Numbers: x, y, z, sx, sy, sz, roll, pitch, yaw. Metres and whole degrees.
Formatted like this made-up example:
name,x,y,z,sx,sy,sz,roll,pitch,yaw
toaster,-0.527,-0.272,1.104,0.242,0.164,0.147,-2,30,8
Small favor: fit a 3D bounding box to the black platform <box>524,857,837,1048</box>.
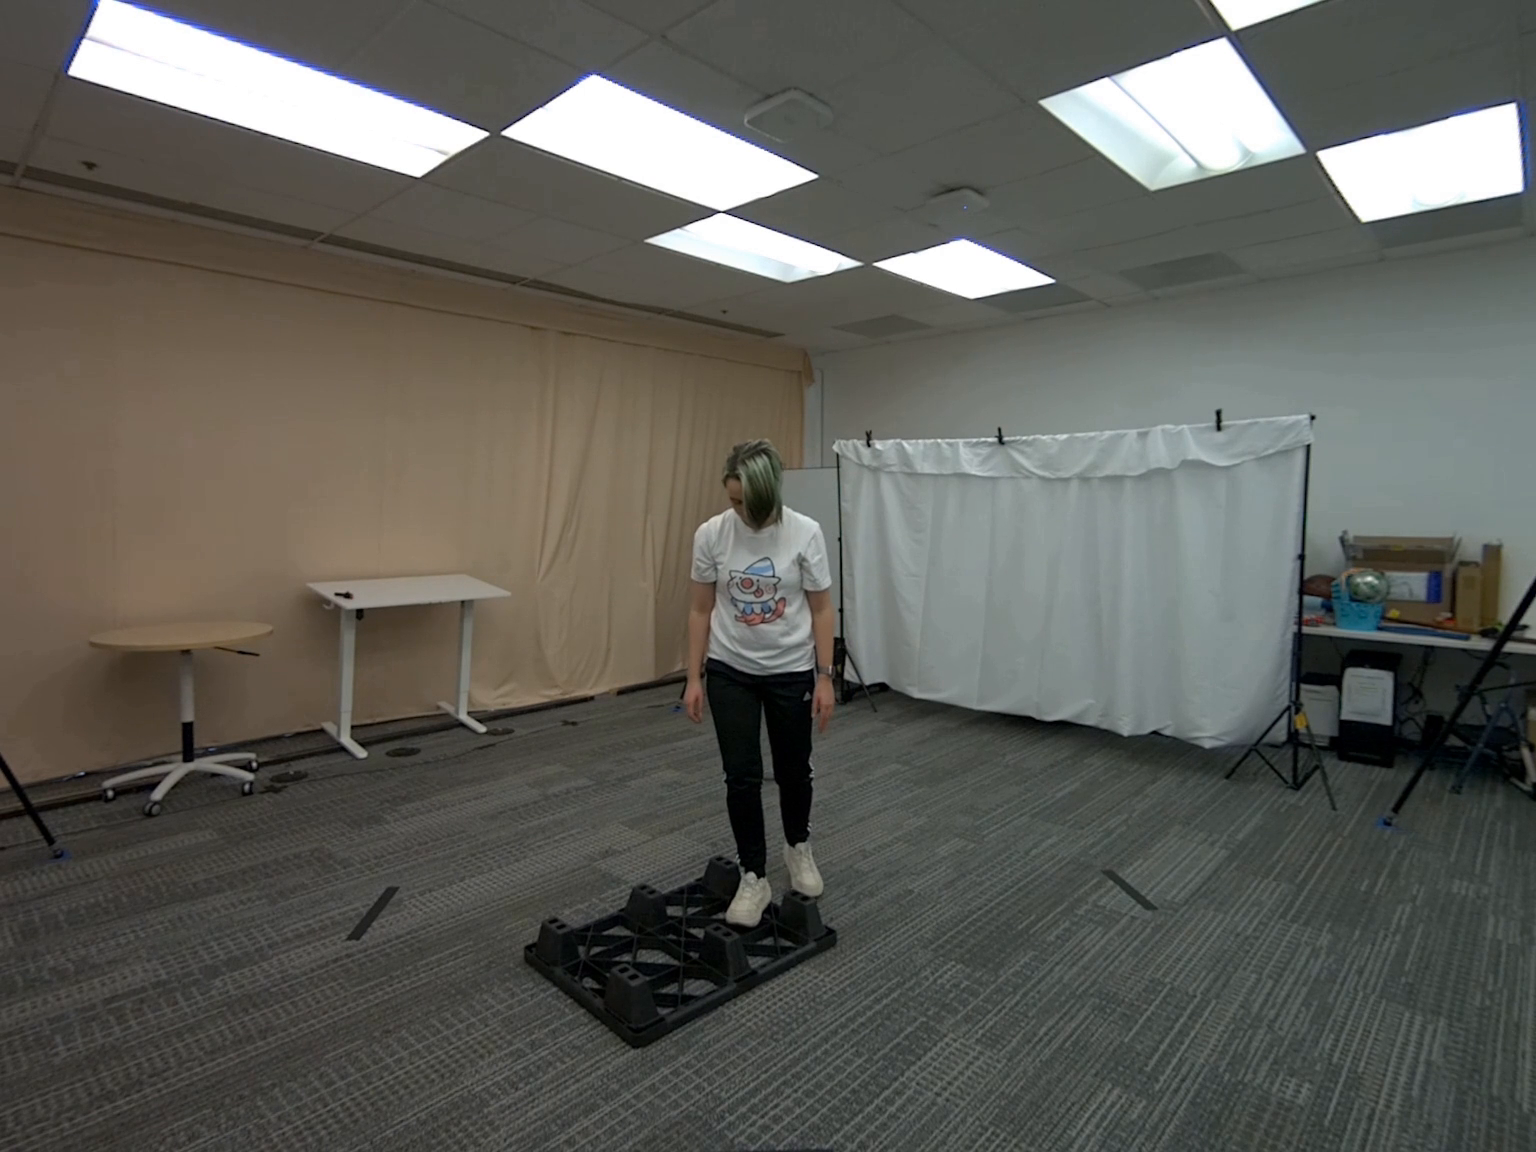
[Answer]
name,x,y,z,sx,sy,sz,roll,pitch,yaw
black platform,-0.265,1.110,2.638,0.781,0.143,0.625,-4,7,-44
